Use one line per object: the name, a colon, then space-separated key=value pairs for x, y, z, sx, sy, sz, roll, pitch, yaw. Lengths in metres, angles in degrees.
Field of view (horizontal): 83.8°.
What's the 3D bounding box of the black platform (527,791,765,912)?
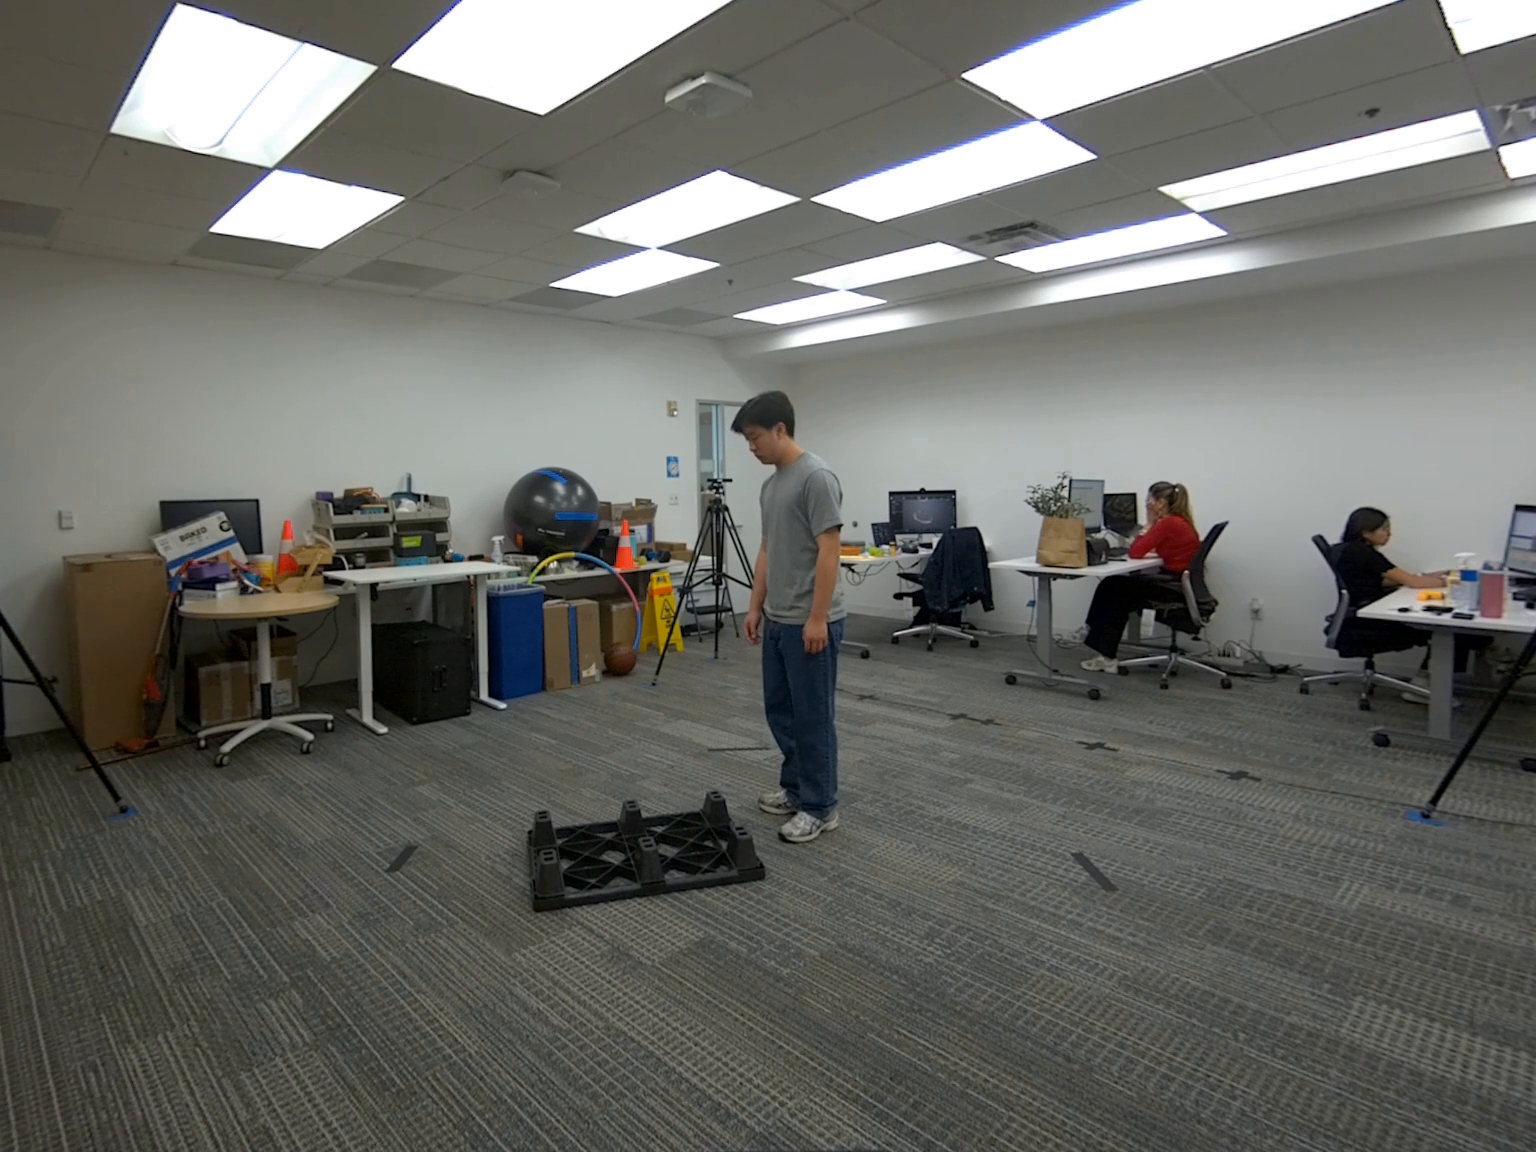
black platform: x=-0.471 y=0.979 z=3.154 sx=0.794 sy=0.143 sz=0.617 roll=-3 pitch=6 yaw=-16
